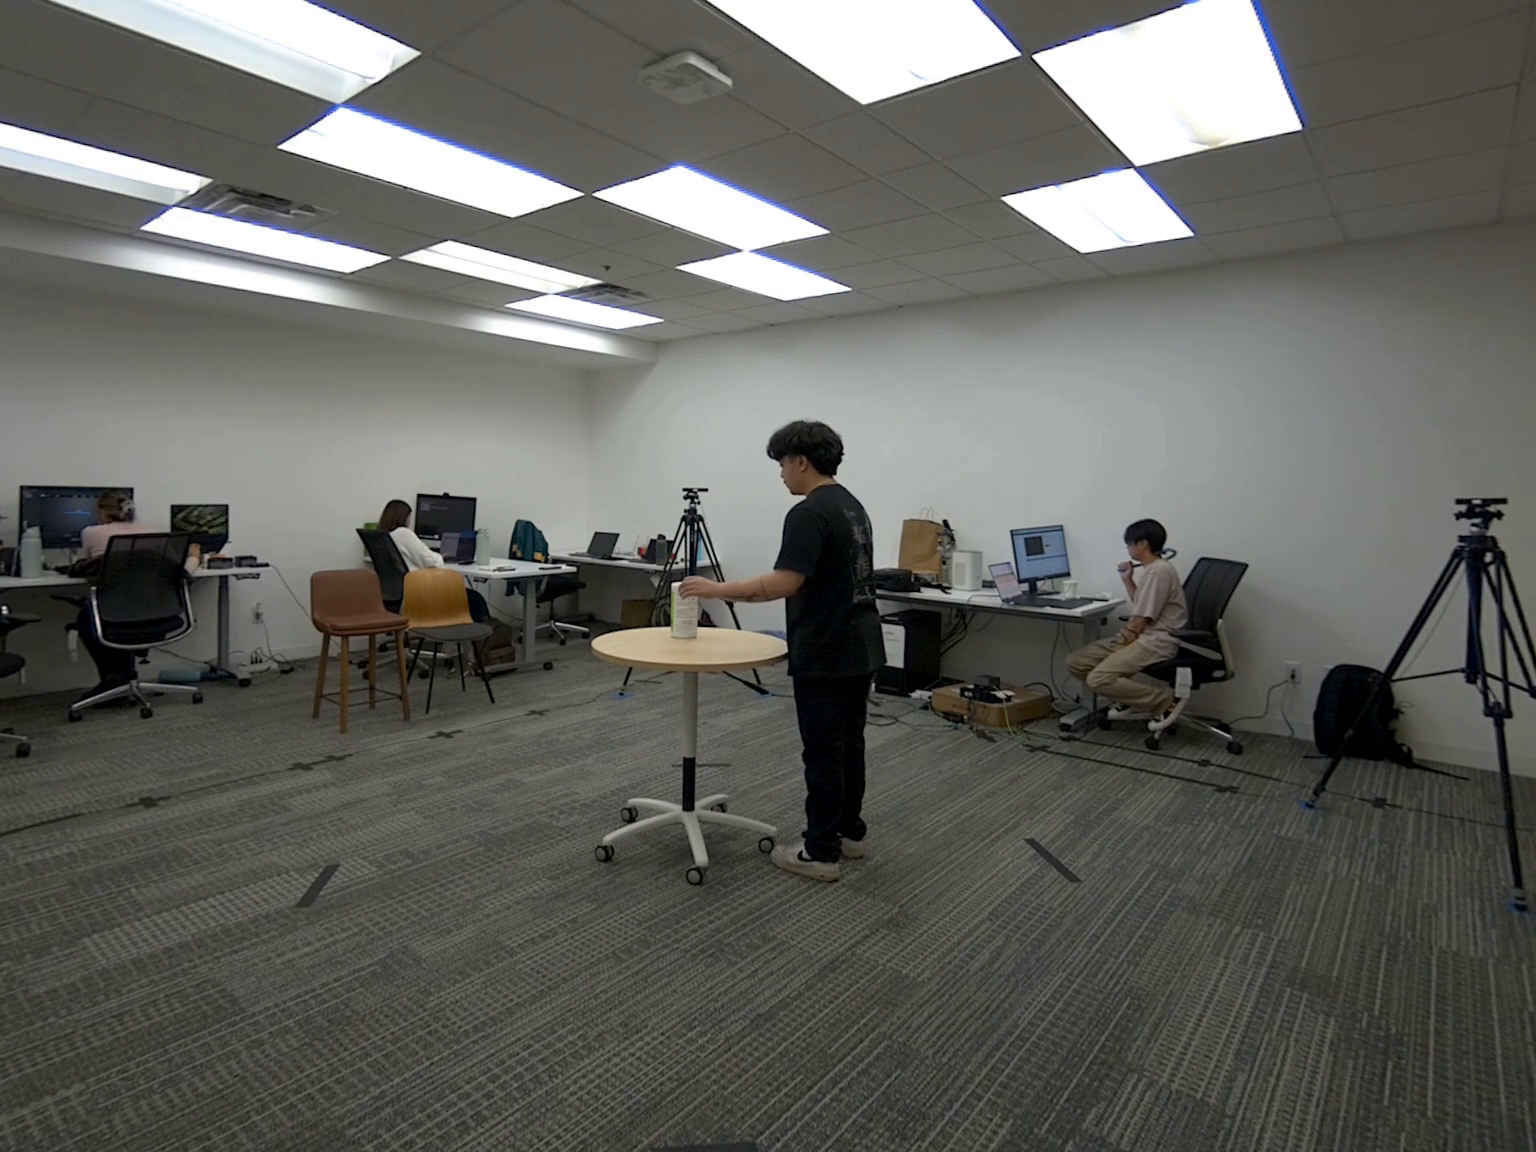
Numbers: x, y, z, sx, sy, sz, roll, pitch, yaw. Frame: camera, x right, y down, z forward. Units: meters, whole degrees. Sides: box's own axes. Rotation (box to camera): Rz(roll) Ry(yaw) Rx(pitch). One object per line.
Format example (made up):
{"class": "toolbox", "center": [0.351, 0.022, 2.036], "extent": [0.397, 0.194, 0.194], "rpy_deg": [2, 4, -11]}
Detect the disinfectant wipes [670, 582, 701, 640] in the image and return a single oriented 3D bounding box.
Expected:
{"class": "disinfectant wipes", "center": [-0.345, 0.133, 3.423], "extent": [0.118, 0.217, 0.118], "rpy_deg": [0, 4, -2]}
